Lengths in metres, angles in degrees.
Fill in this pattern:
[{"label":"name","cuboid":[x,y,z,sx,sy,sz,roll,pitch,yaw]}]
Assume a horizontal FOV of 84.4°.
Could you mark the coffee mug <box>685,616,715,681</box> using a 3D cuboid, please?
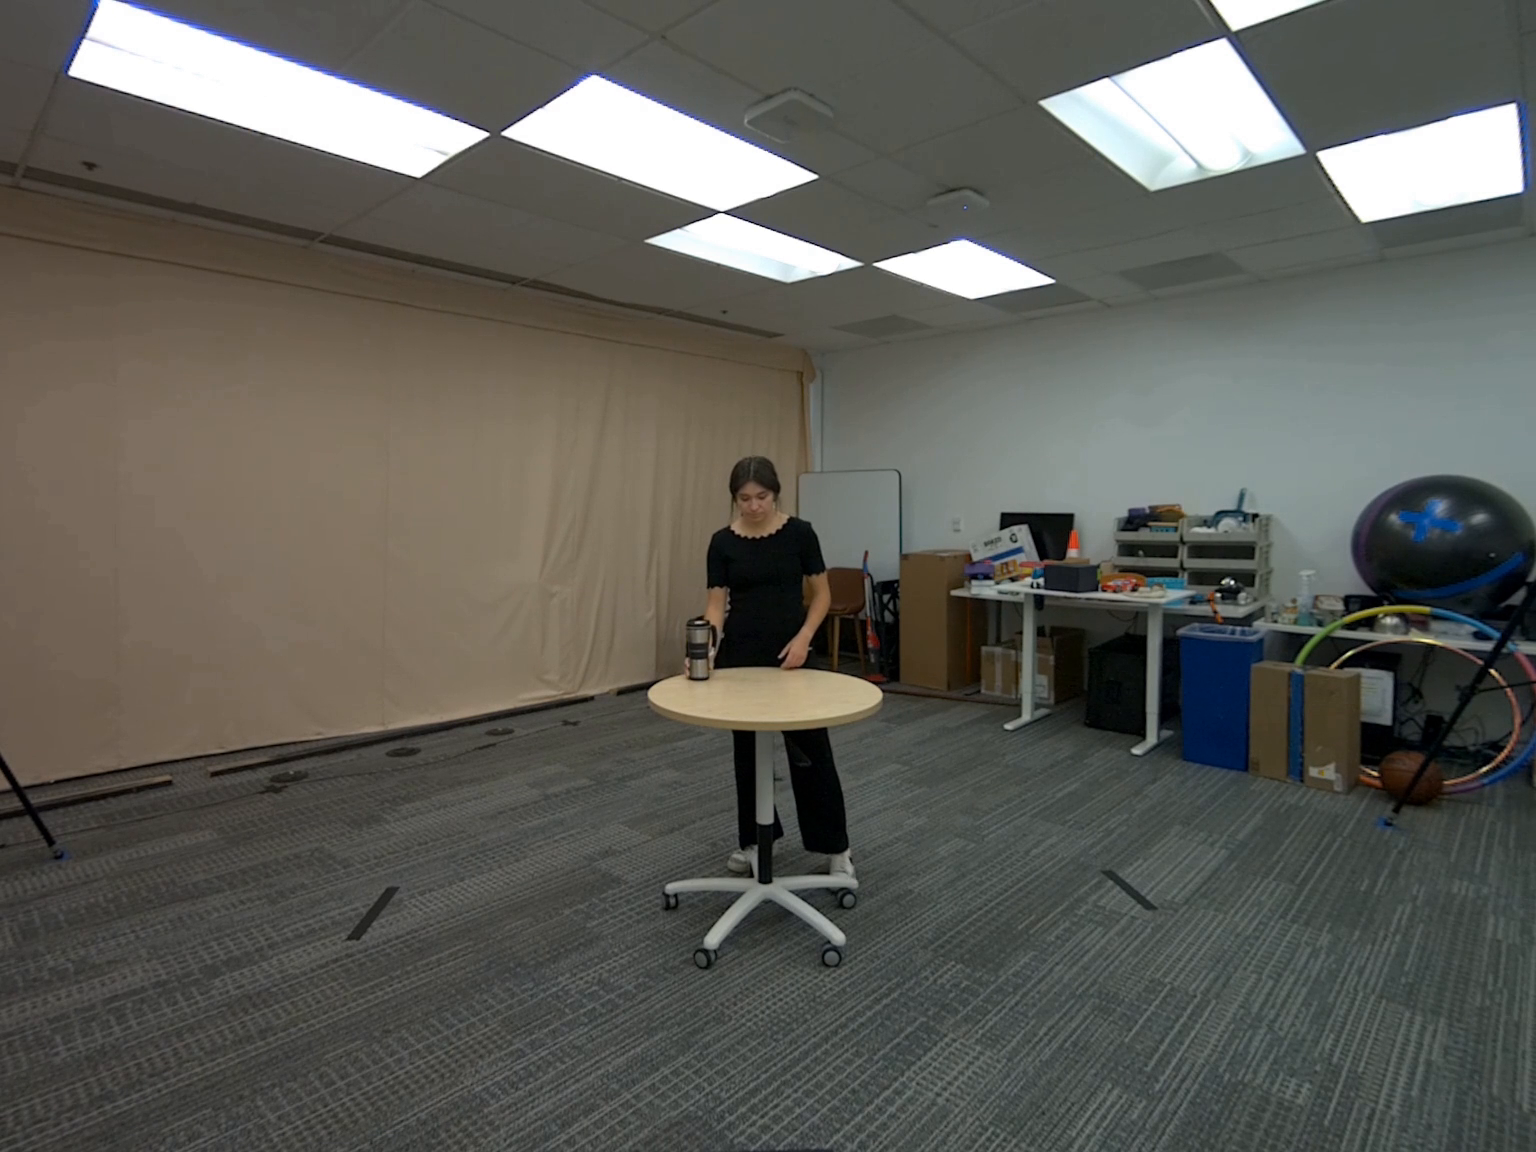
[{"label":"coffee mug","cuboid":[-0.217,0.257,2.963,0.119,0.203,0.090,-7,2,-27]}]
